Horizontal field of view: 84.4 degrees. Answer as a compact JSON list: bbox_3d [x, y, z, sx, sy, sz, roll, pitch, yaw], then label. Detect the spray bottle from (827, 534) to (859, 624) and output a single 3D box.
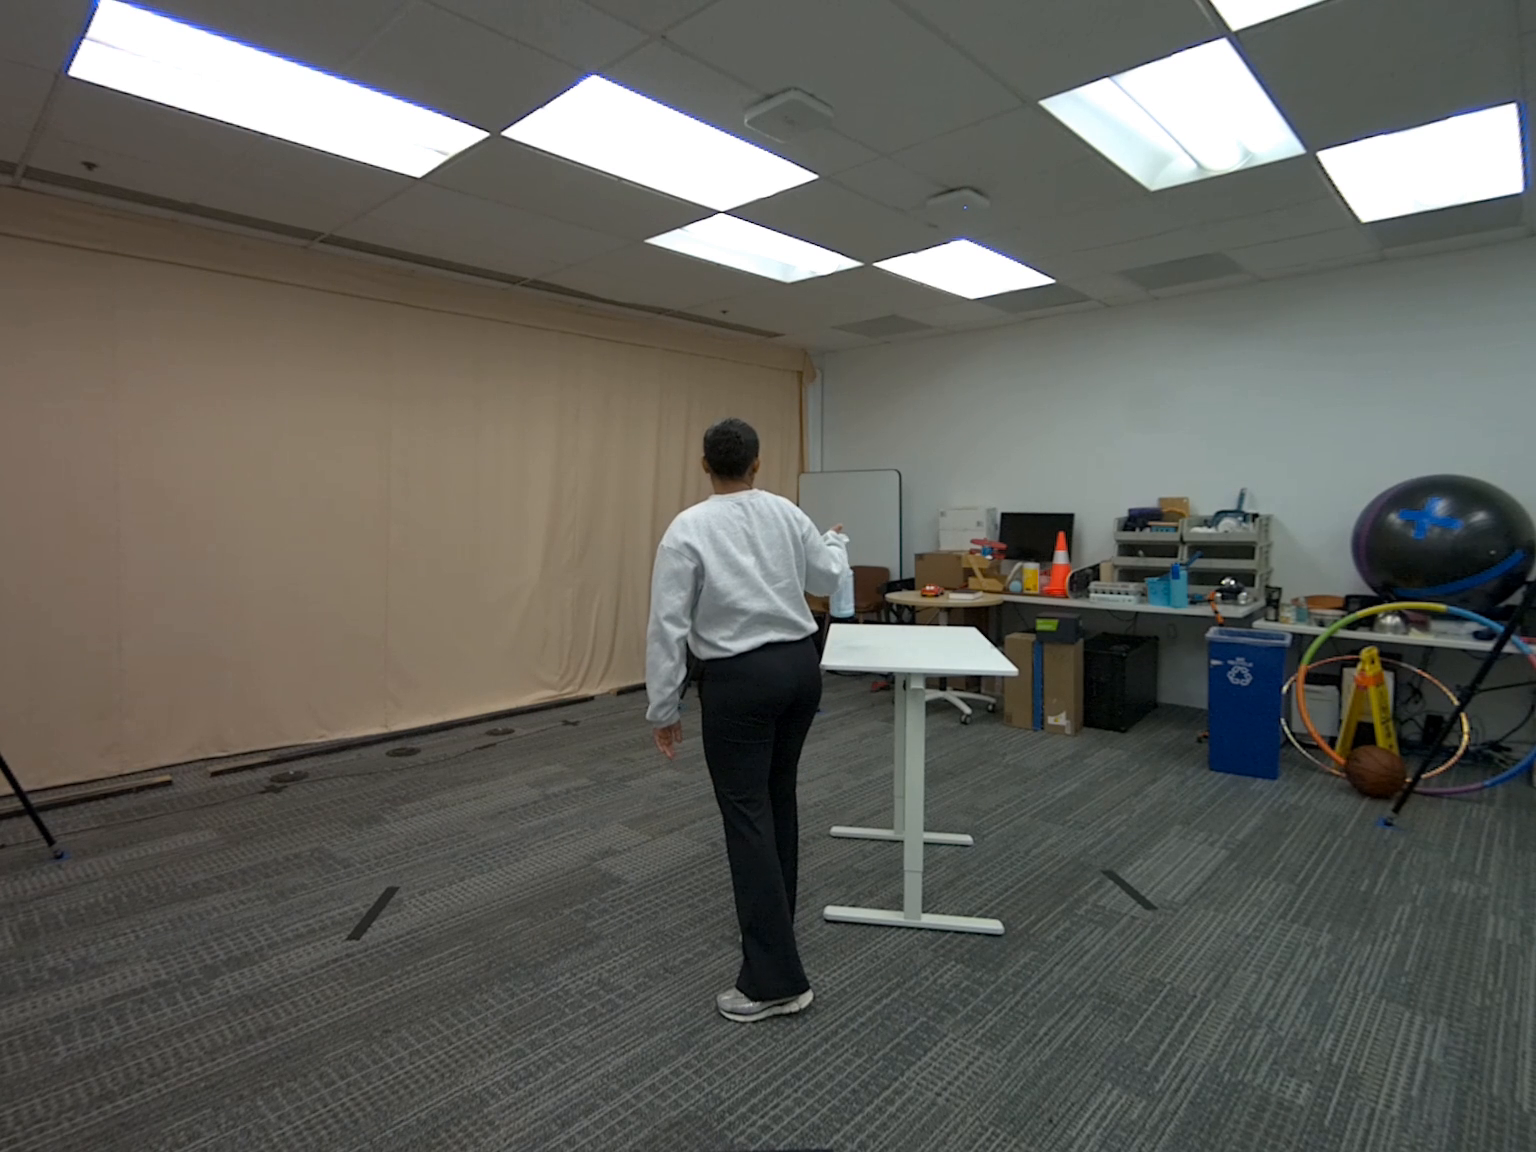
[{"bbox_3d":[0.261,0.009,2.989,0.089,0.295,0.088,-3,12,-7],"label":"spray bottle"}]
